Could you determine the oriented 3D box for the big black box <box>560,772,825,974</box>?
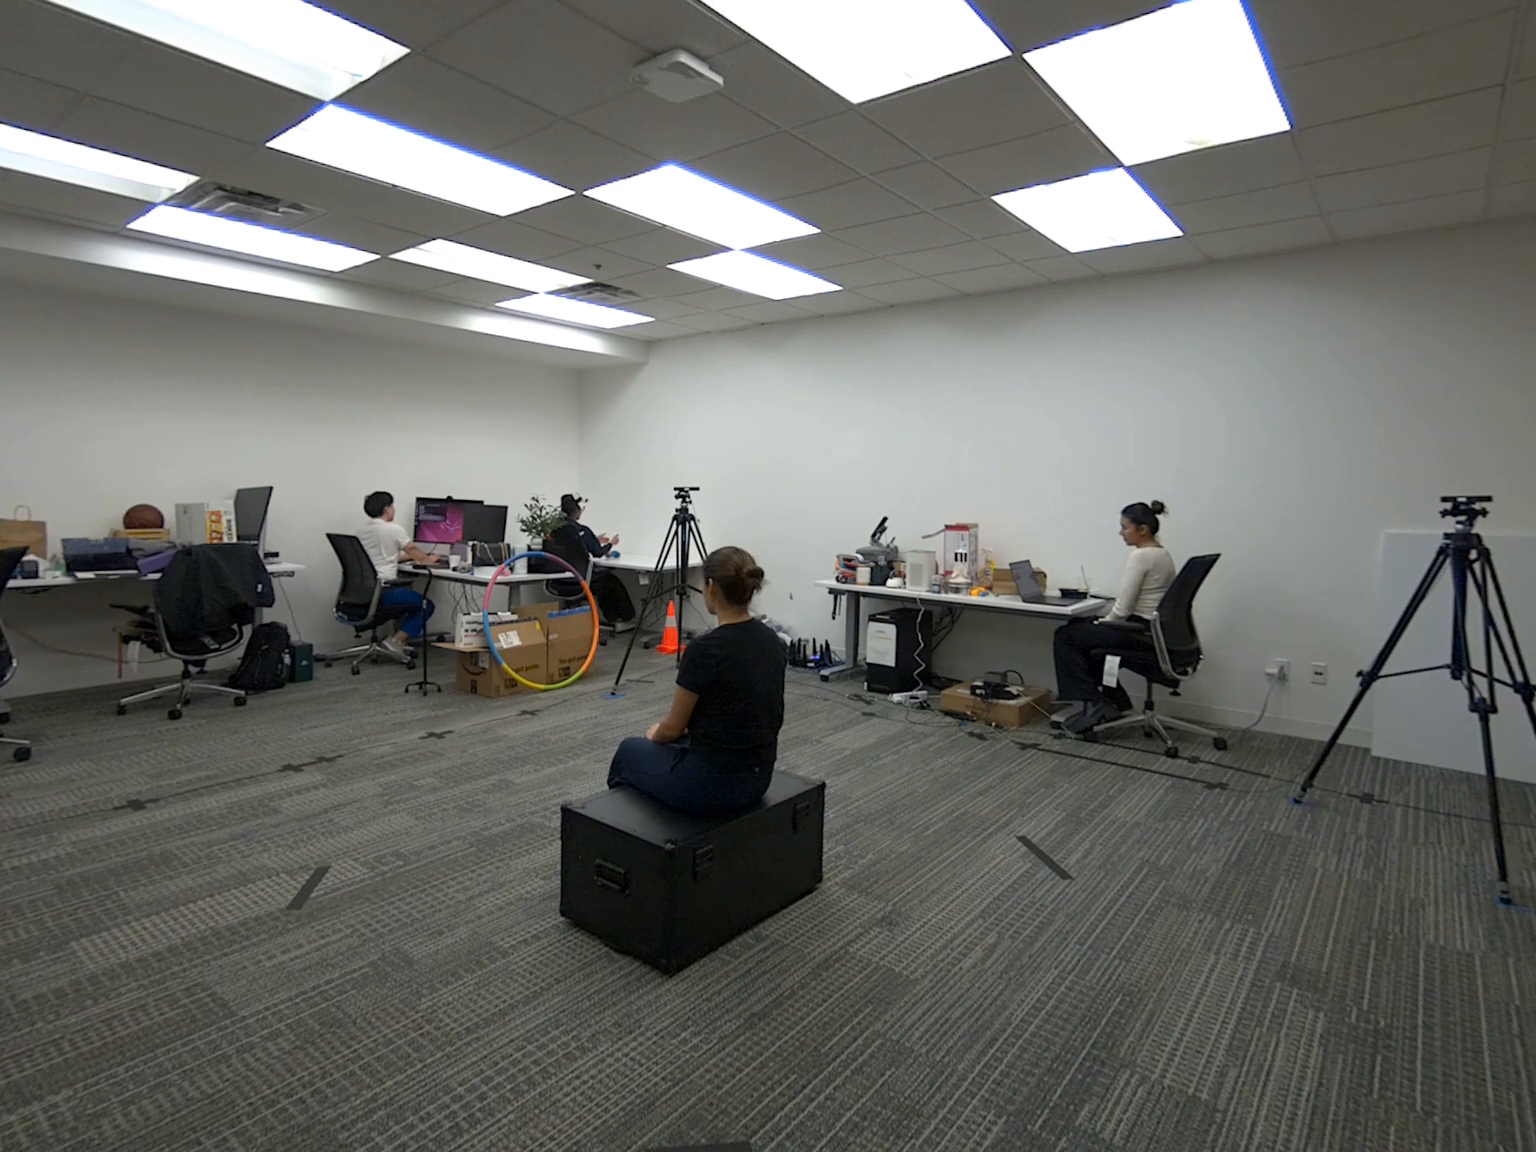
[{"bbox_3d":[-0.198,0.903,2.863,0.539,0.394,0.837,5,7,39],"label":"big black box"}]
